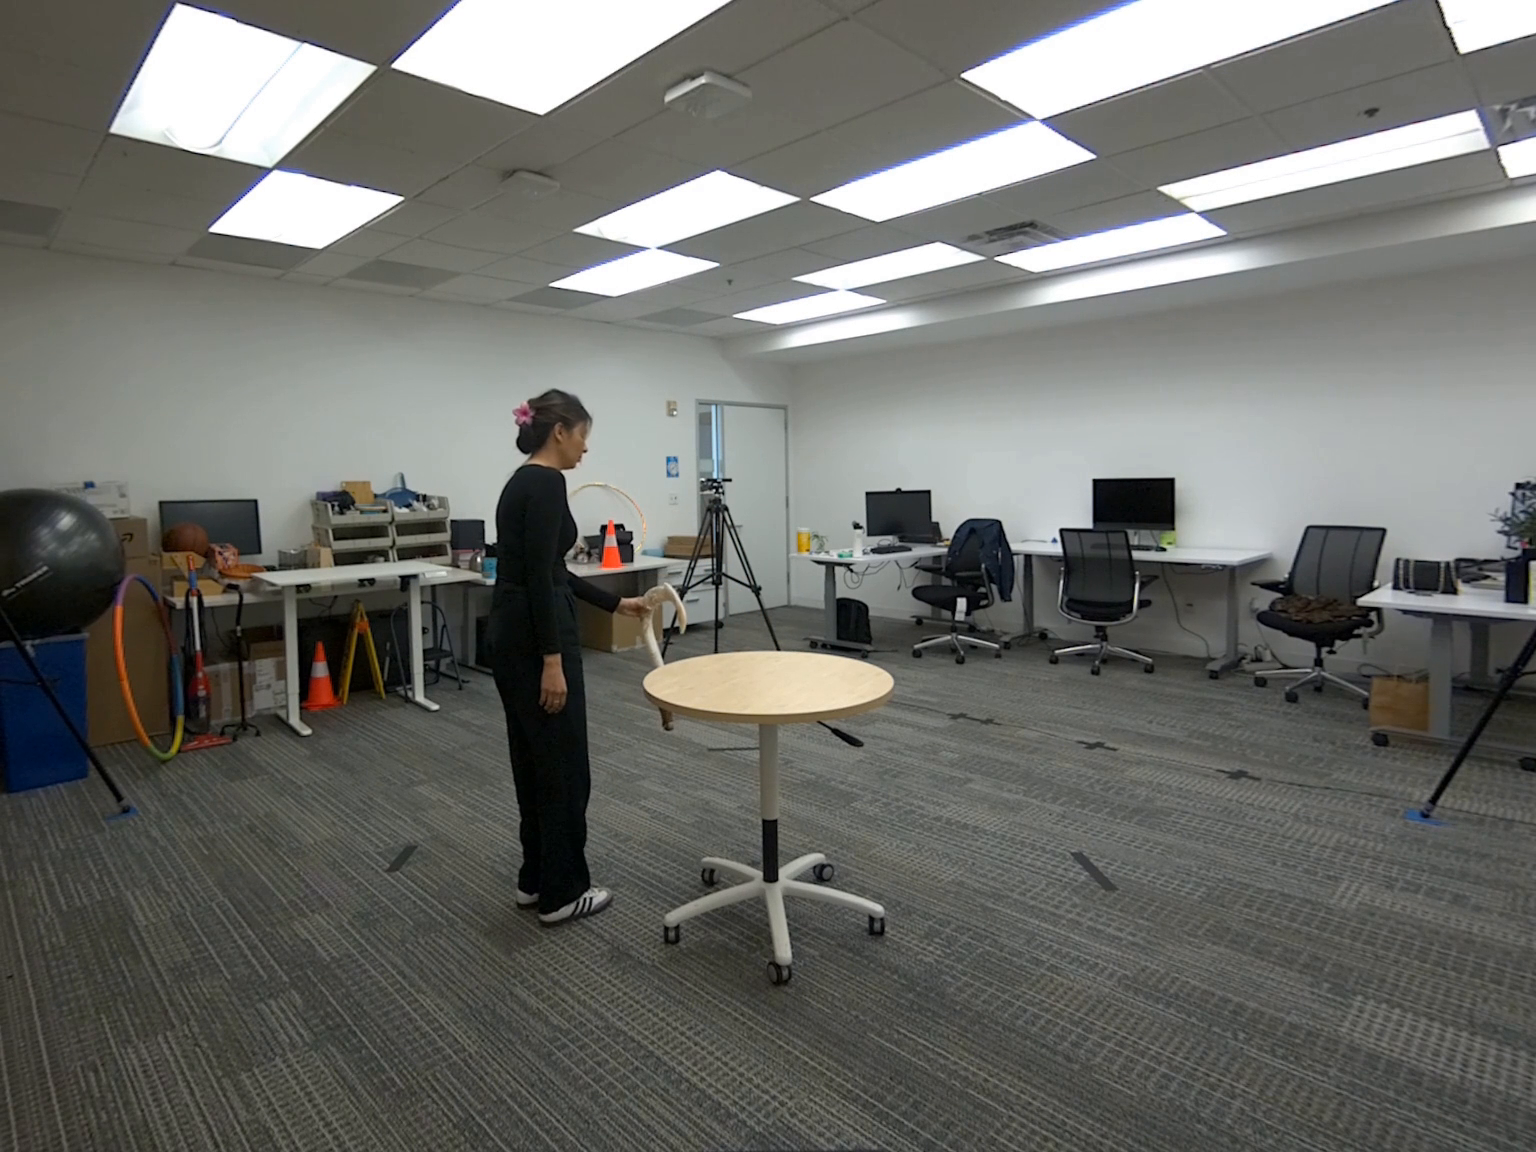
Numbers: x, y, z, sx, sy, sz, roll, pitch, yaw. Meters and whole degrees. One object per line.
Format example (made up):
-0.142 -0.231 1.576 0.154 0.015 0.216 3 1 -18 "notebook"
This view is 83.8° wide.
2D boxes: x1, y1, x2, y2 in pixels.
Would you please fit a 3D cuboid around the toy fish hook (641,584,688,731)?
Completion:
-0.352 0.283 3.007 0.047 0.515 0.228 6 -21 -44 "toy fish hook"
